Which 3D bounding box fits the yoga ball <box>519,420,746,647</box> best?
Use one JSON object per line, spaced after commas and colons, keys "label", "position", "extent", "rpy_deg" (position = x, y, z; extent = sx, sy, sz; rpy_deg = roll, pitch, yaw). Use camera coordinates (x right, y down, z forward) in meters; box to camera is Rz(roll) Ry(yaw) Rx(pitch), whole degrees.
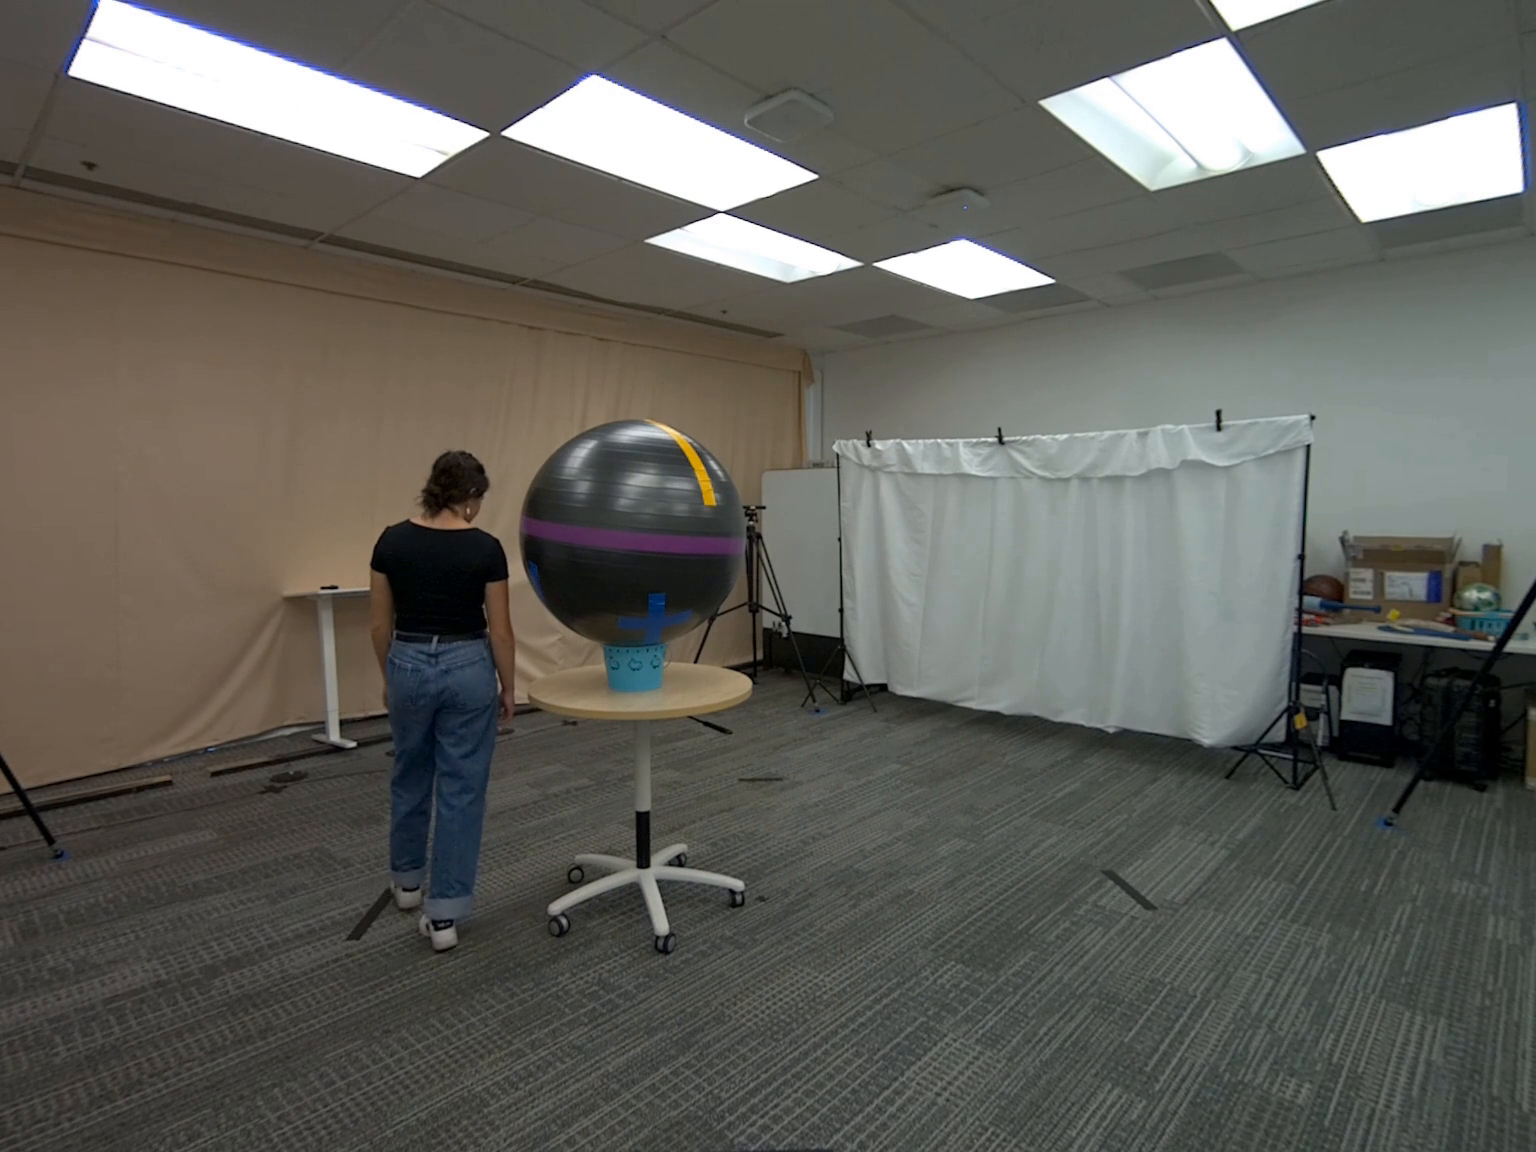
{"label": "yoga ball", "position": [-0.464, -0.139, 2.839], "extent": [0.757, 0.756, 0.760], "rpy_deg": [0, 4, -2]}
